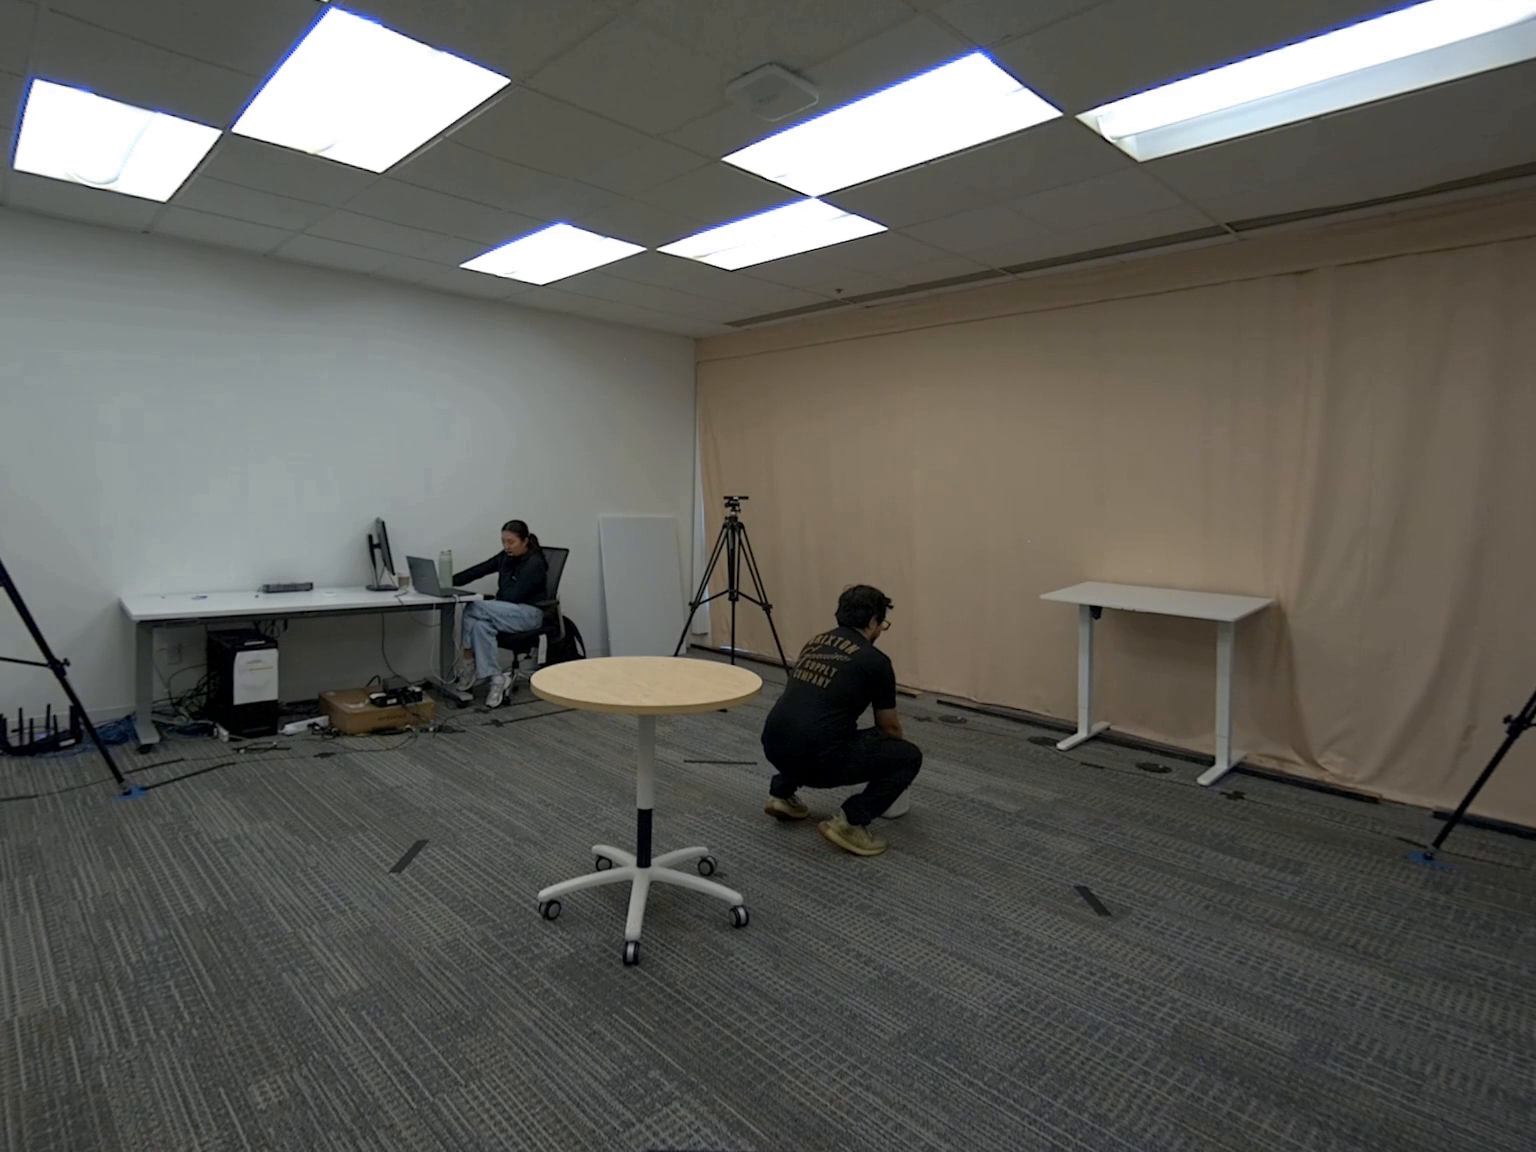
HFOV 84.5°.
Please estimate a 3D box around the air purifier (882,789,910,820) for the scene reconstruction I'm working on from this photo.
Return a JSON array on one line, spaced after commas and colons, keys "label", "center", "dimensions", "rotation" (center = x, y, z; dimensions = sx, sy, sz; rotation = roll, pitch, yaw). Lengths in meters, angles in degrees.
[{"label": "air purifier", "center": [0.534, 0.931, 3.783], "dimensions": [0.167, 0.265, 0.175], "rotation": [-1, 5, -44]}]
